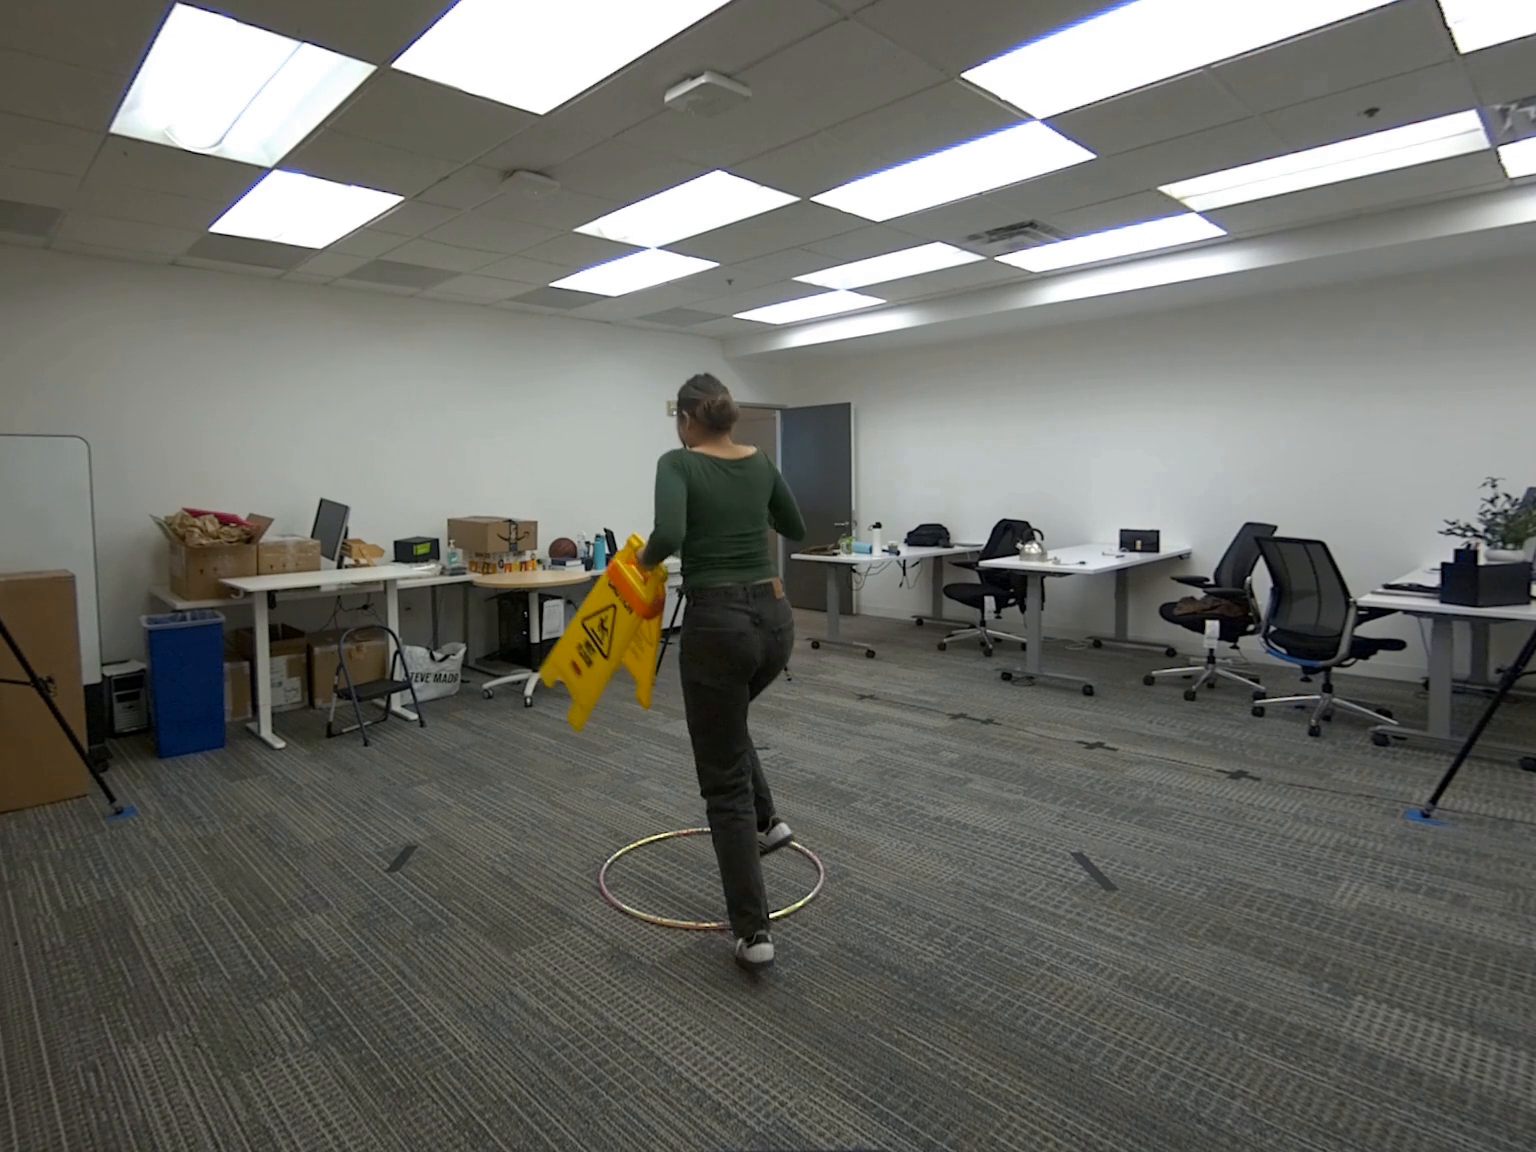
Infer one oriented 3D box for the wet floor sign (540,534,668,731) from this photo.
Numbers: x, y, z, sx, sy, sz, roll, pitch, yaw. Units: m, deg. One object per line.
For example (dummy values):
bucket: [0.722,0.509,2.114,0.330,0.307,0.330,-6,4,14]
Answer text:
wet floor sign: [-0.453,0.183,2.794,0.283,0.639,0.292,-9,46,-44]
